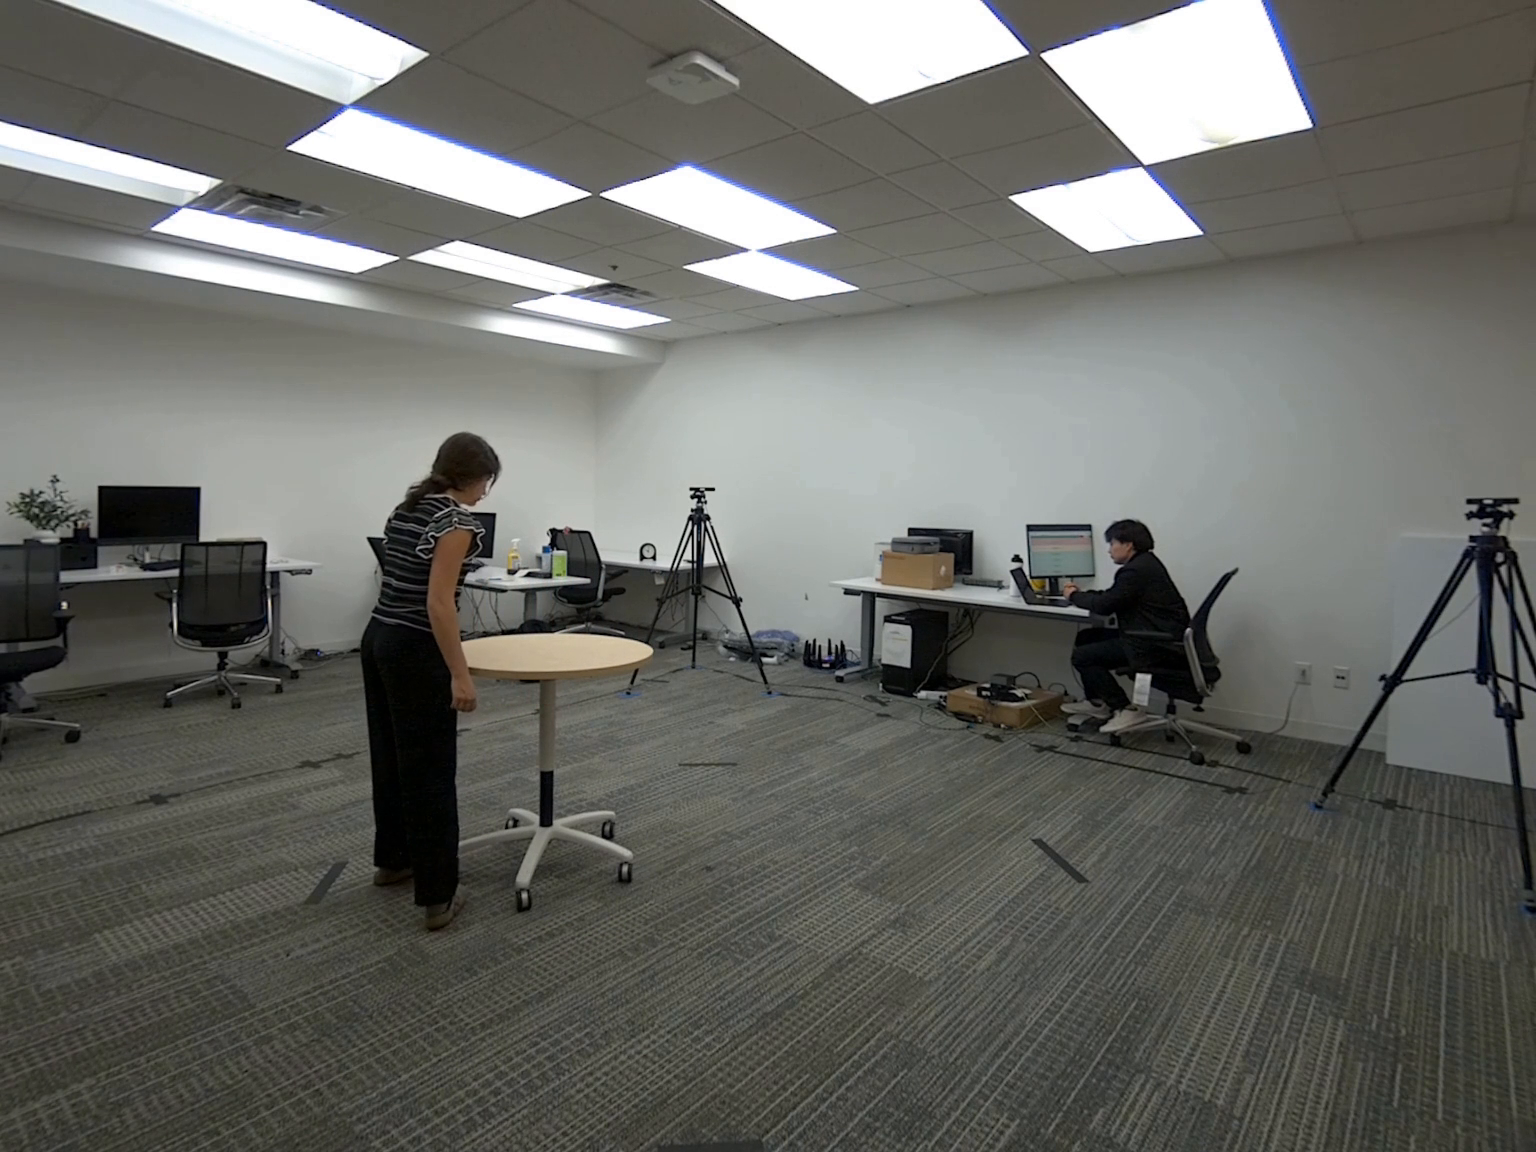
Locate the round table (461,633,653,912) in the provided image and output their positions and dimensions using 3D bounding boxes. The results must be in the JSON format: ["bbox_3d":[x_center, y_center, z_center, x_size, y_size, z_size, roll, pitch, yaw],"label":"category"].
[{"bbox_3d":[-0.817,0.666,3.112,0.763,0.792,0.767,1,4,-2],"label":"round table"}]
